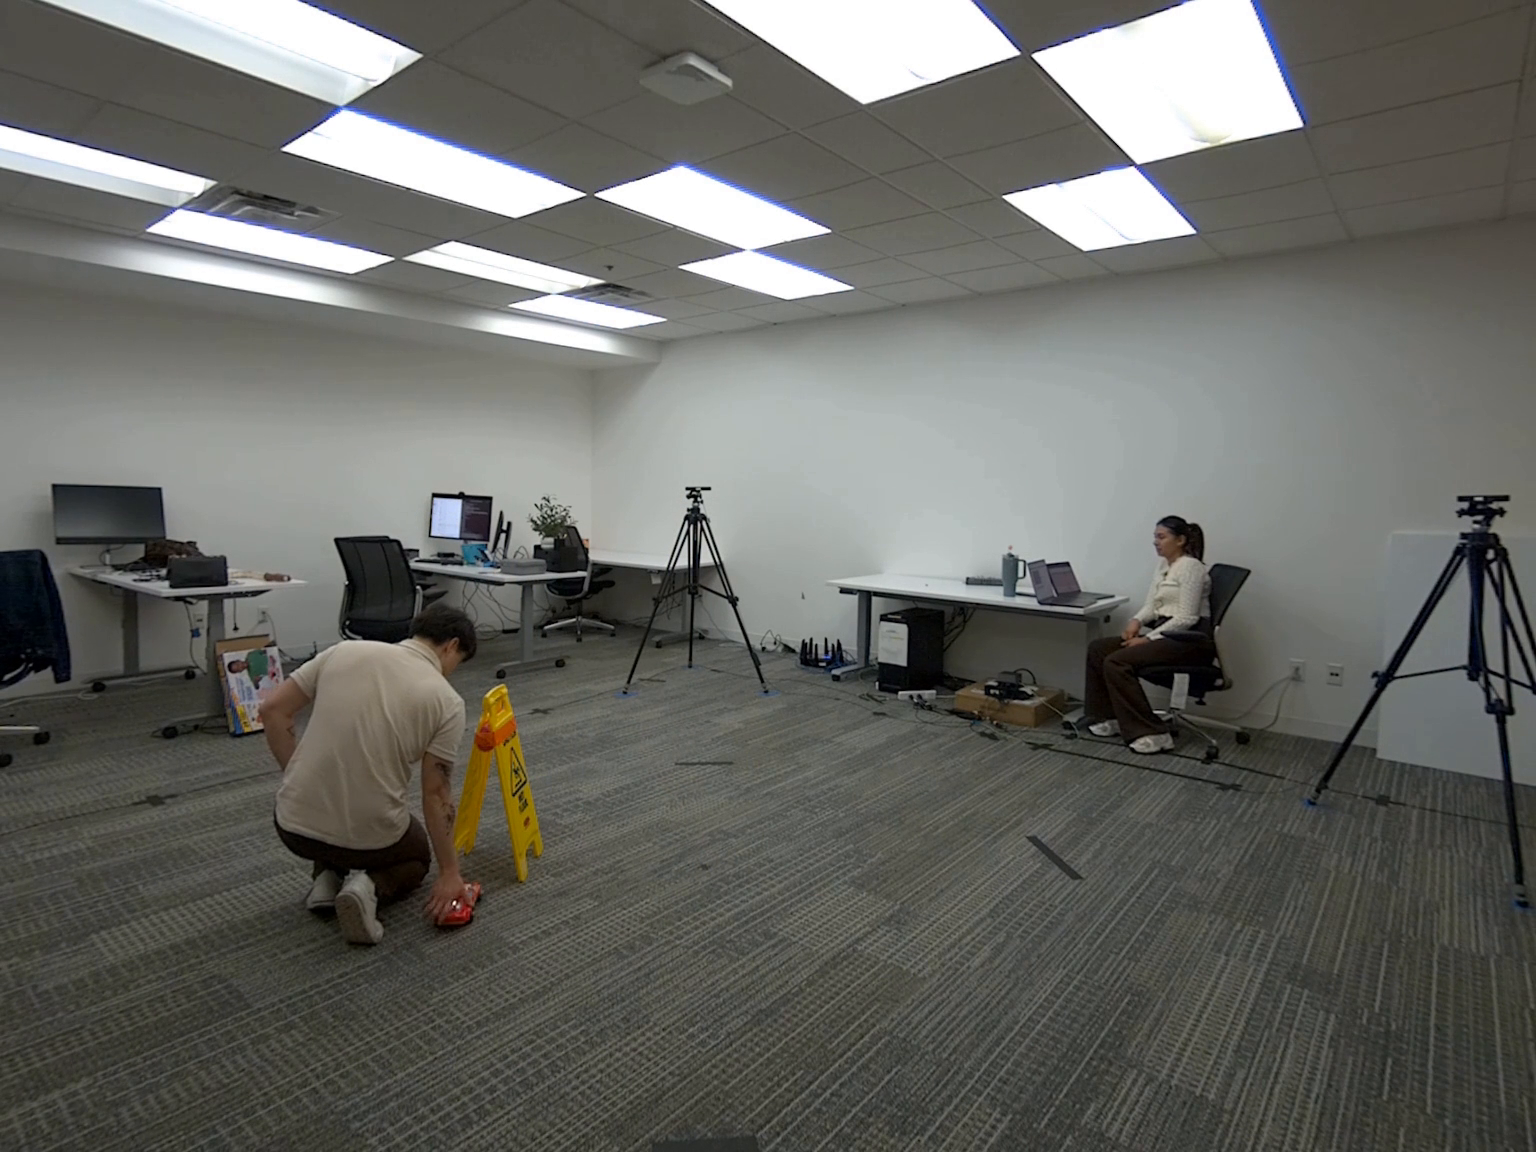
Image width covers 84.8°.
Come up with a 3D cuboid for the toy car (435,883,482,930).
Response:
[{"bbox_3d":[-1.016,1.063,2.745,0.129,0.083,0.256,3,-4,-10],"label":"toy car"}]
